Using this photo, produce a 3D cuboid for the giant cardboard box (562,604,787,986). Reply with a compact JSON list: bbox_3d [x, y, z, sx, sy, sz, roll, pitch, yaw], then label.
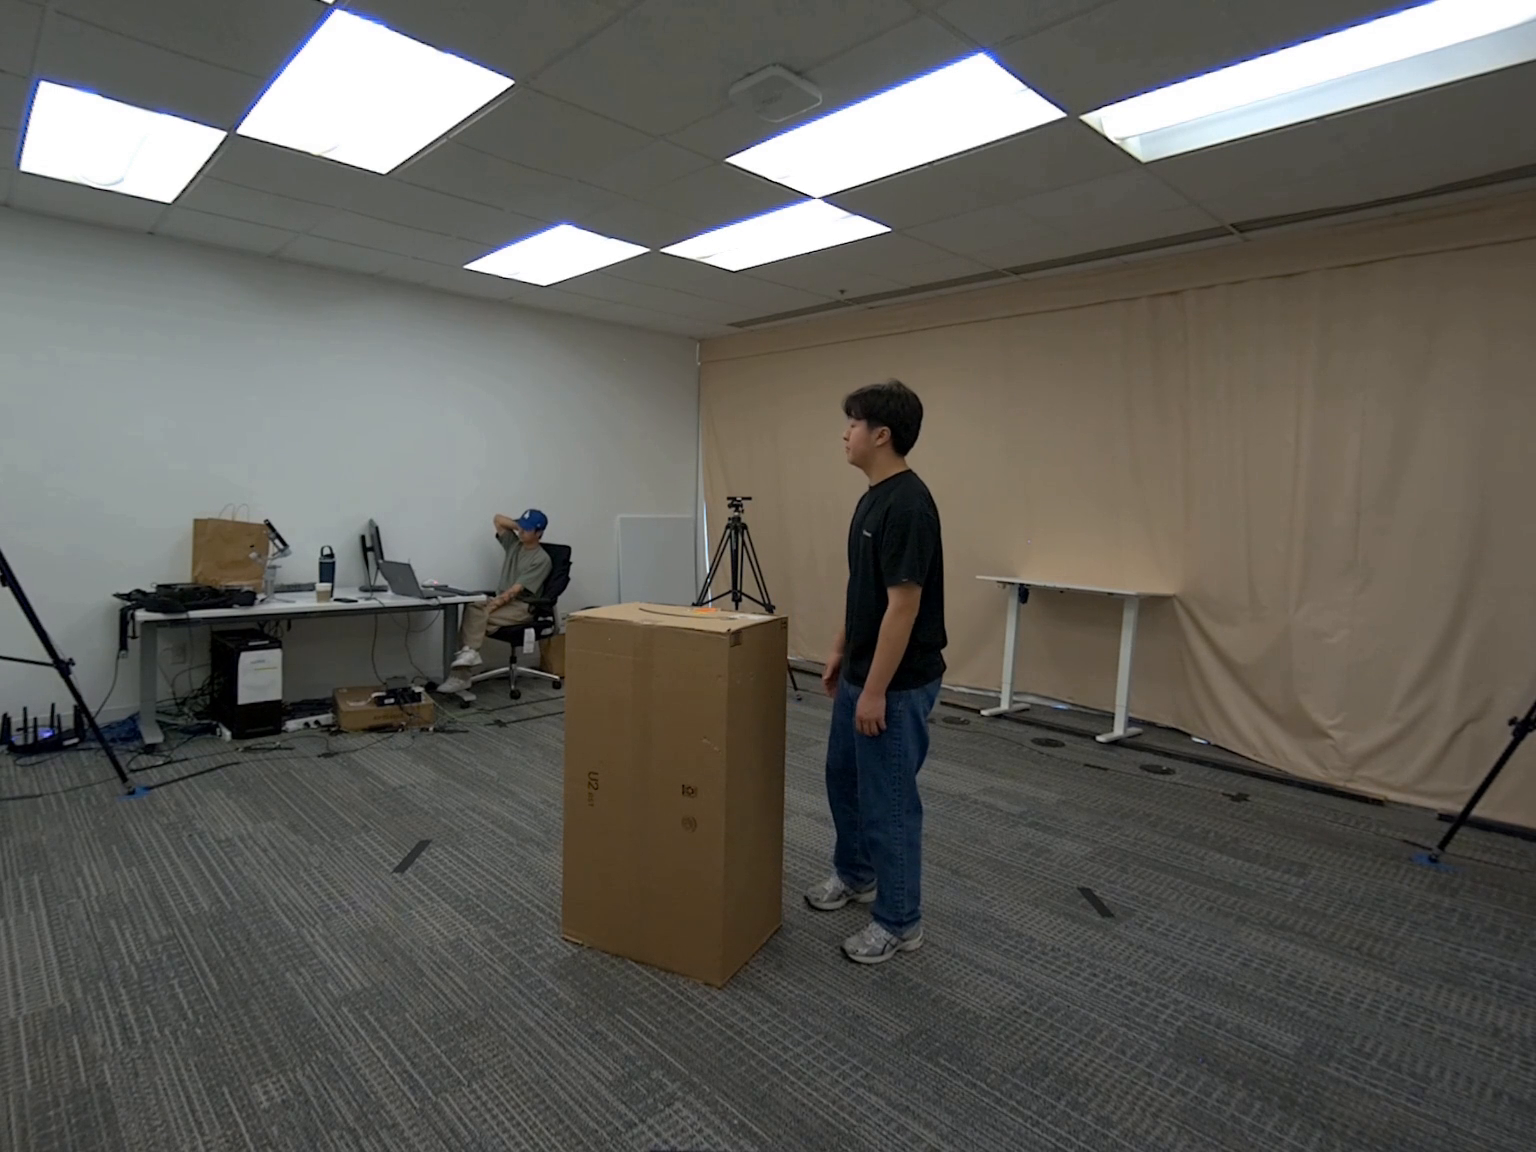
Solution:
[{"bbox_3d":[-0.293,0.630,2.682,0.596,1.025,0.438,3,2,28],"label":"giant cardboard box"}]
